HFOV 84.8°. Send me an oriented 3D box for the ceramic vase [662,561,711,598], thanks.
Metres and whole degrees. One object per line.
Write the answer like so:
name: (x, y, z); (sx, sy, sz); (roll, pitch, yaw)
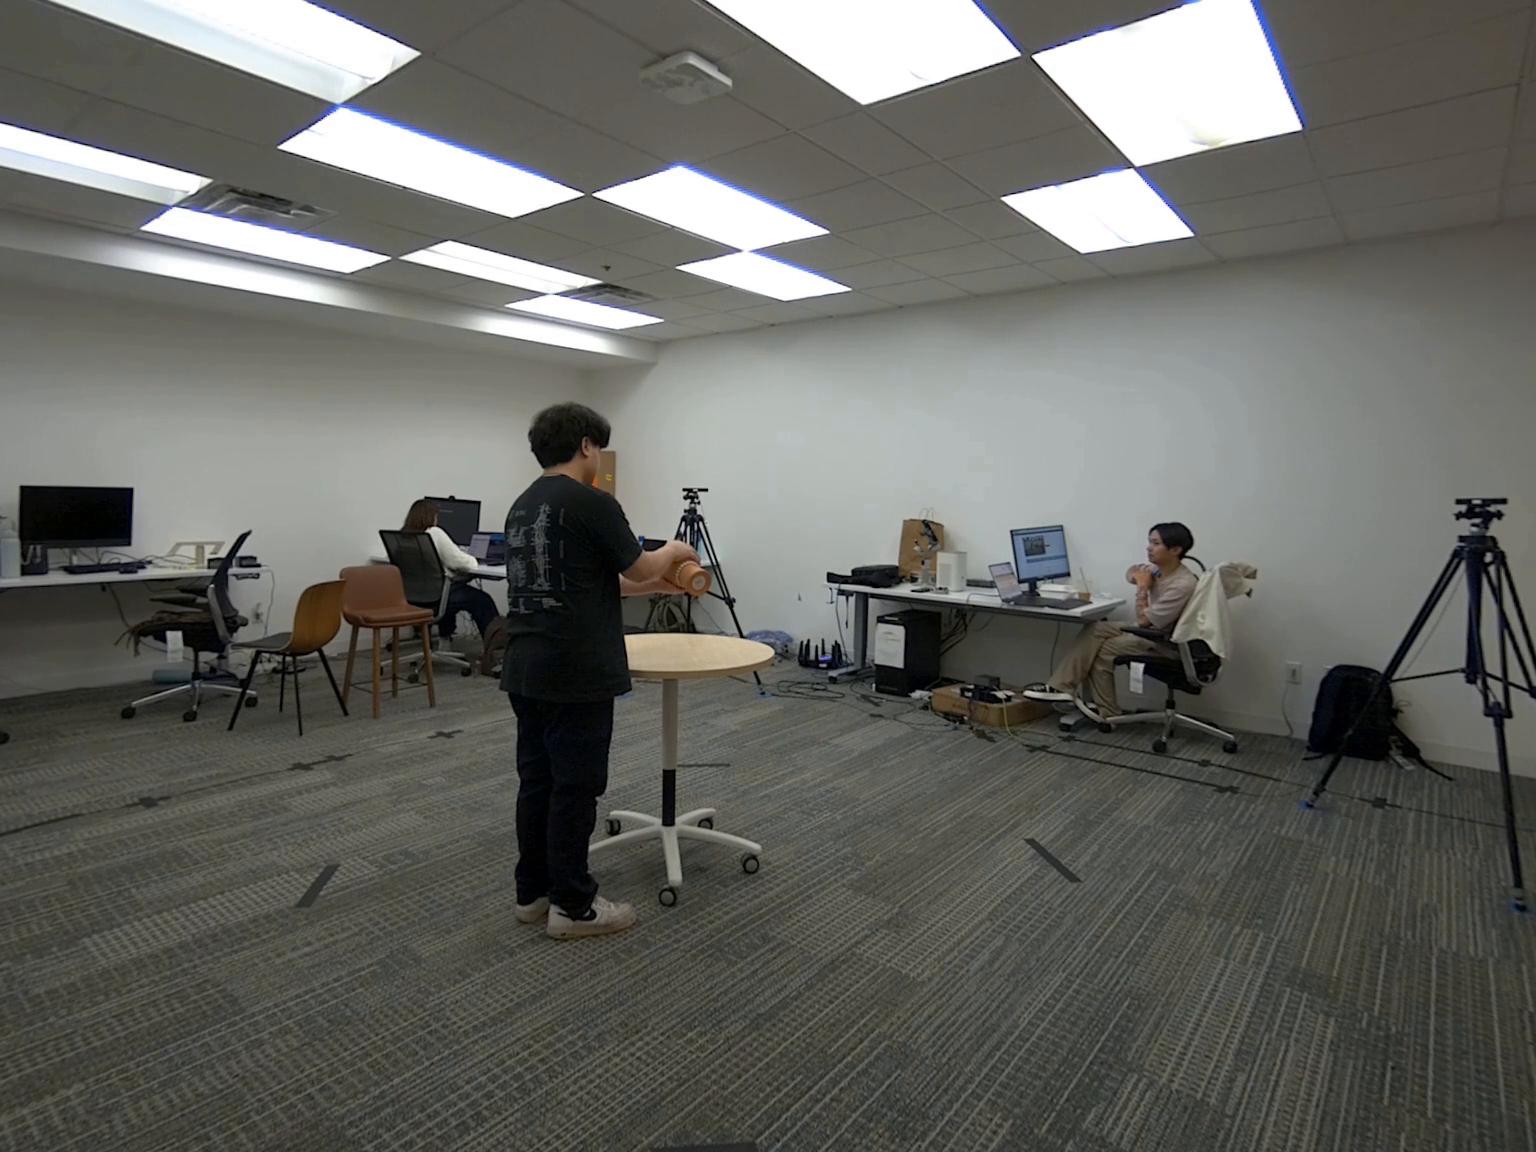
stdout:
ceramic vase: (-0.312, -0.022, 3.008); (0.229, 0.158, 0.129); (35, -14, 50)
